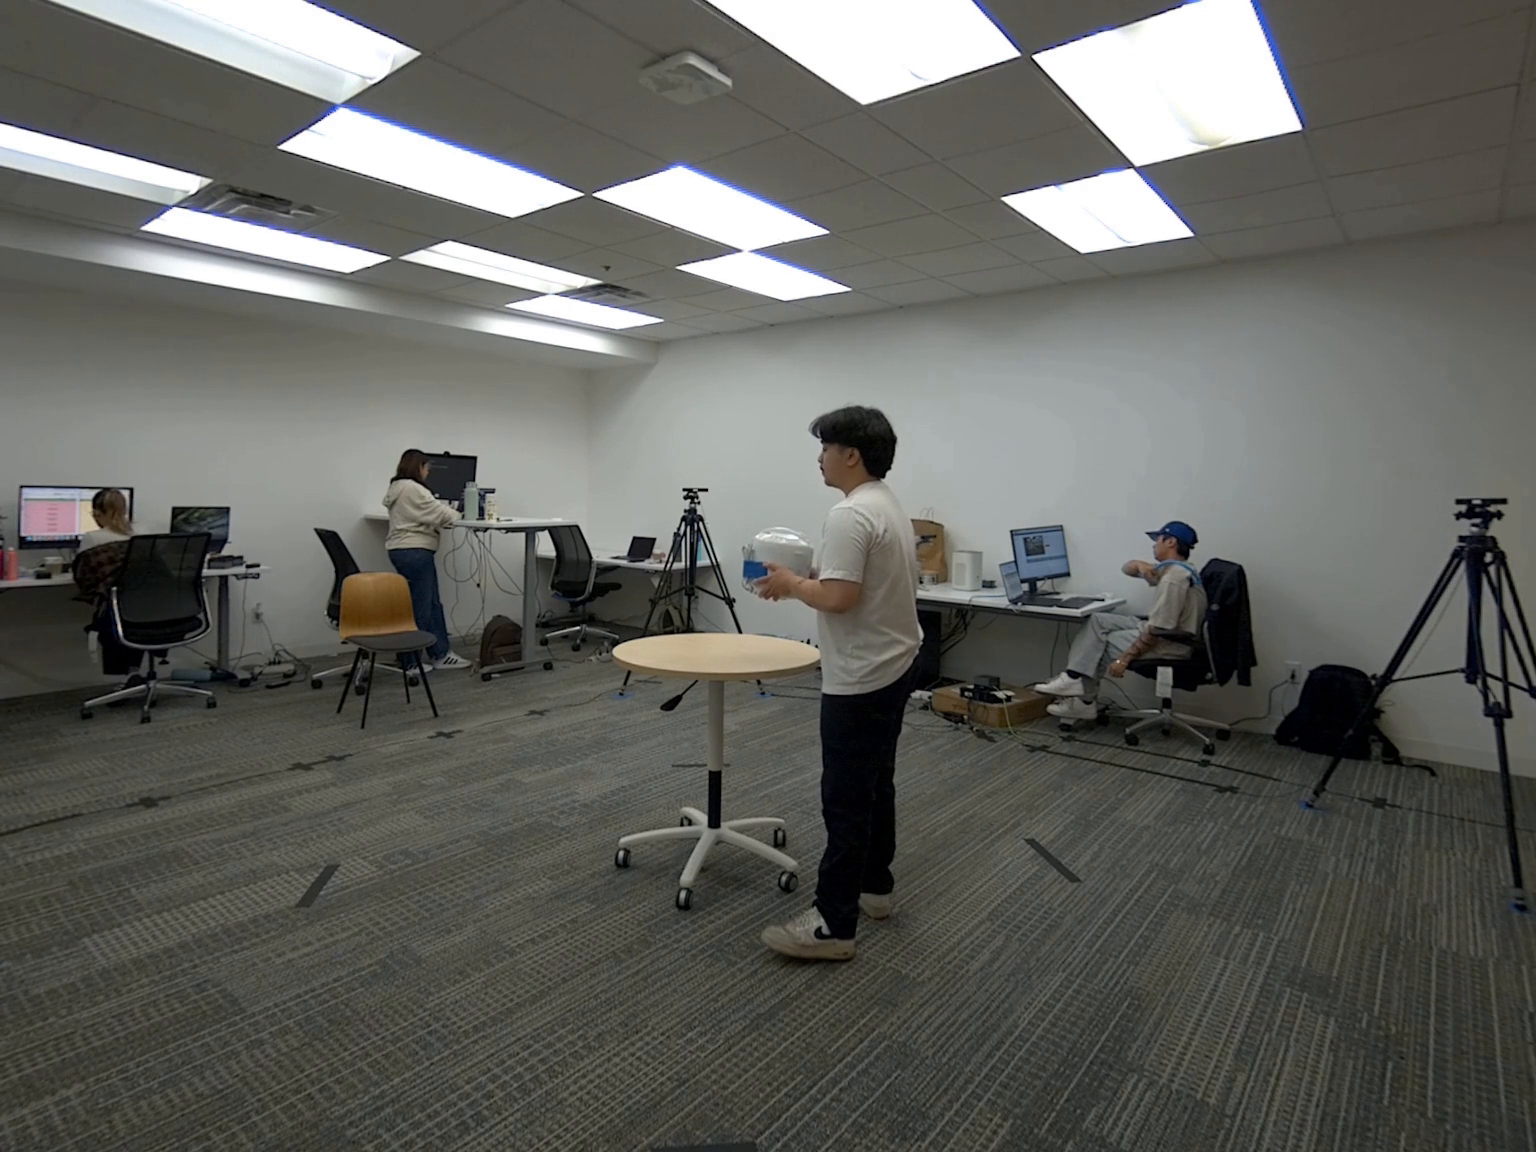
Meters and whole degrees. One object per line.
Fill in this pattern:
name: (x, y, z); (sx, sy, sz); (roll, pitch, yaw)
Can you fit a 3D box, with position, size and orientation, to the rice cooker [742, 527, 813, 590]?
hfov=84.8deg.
rice cooker: (0.030, -0.055, 2.897); (0.226, 0.231, 0.213); (11, 8, 21)
